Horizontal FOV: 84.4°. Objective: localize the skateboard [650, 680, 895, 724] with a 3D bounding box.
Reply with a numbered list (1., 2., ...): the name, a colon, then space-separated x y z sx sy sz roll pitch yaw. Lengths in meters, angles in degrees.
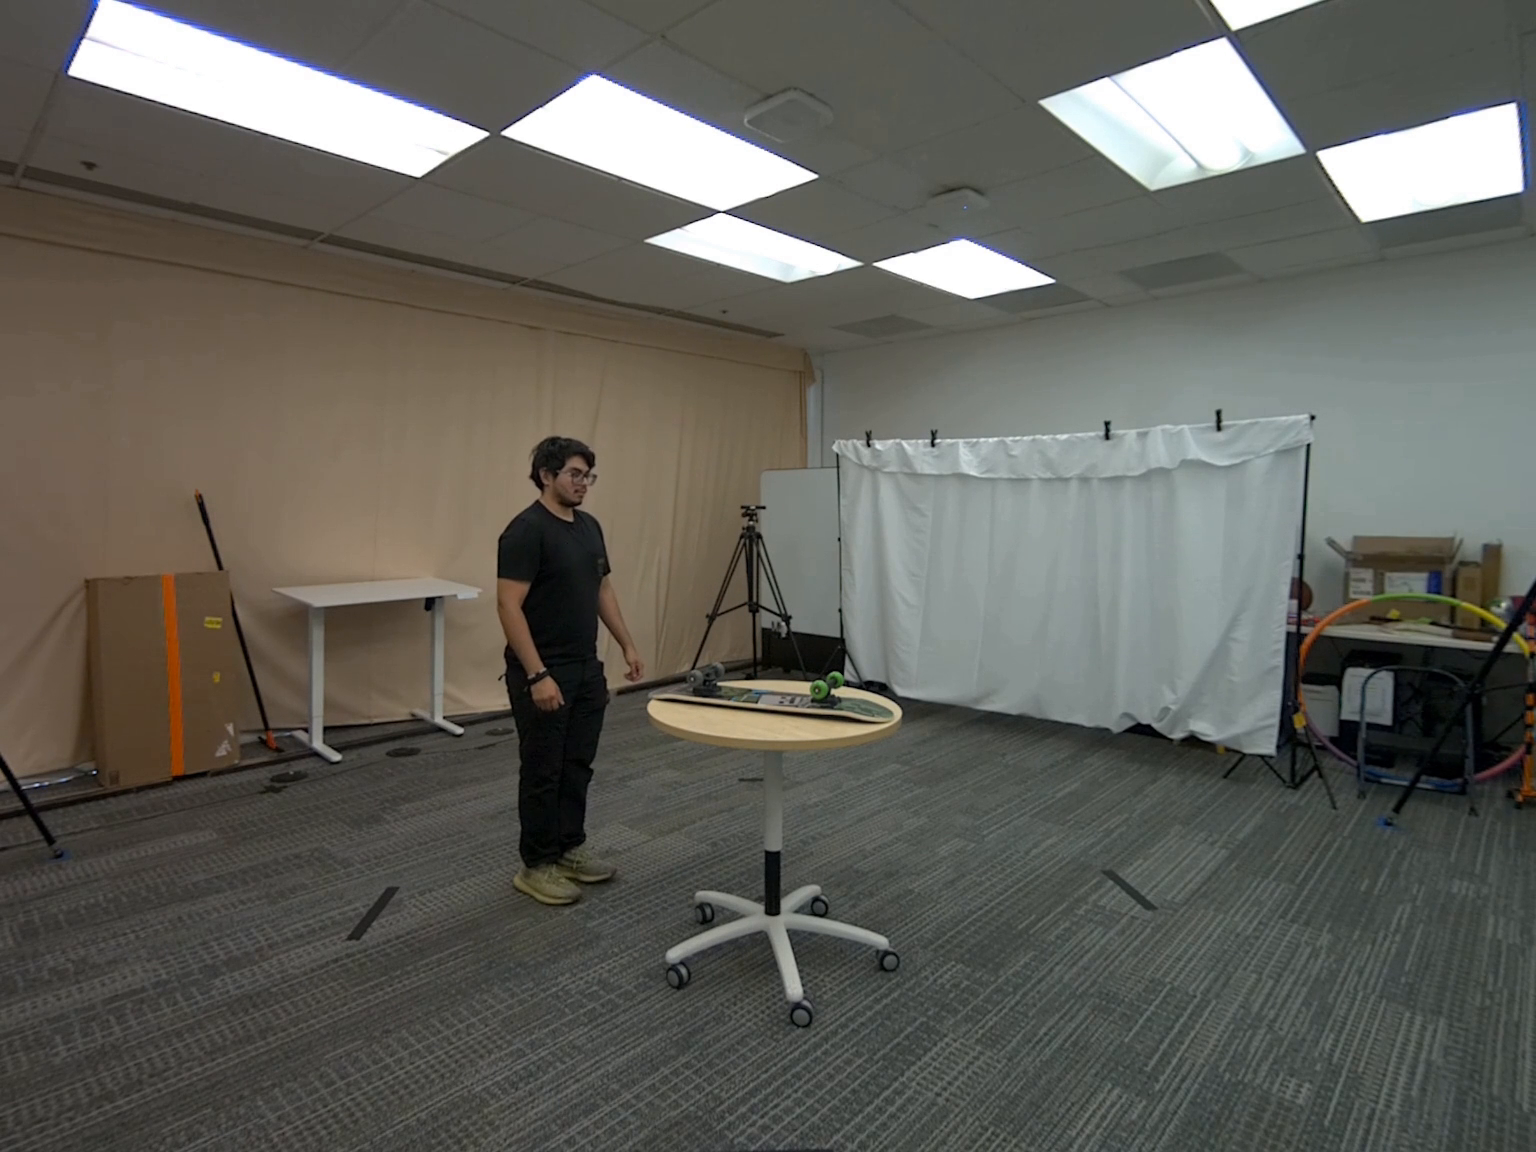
1. skateboard: -0.008 0.352 2.549 0.806 0.110 0.189 1 5 26
